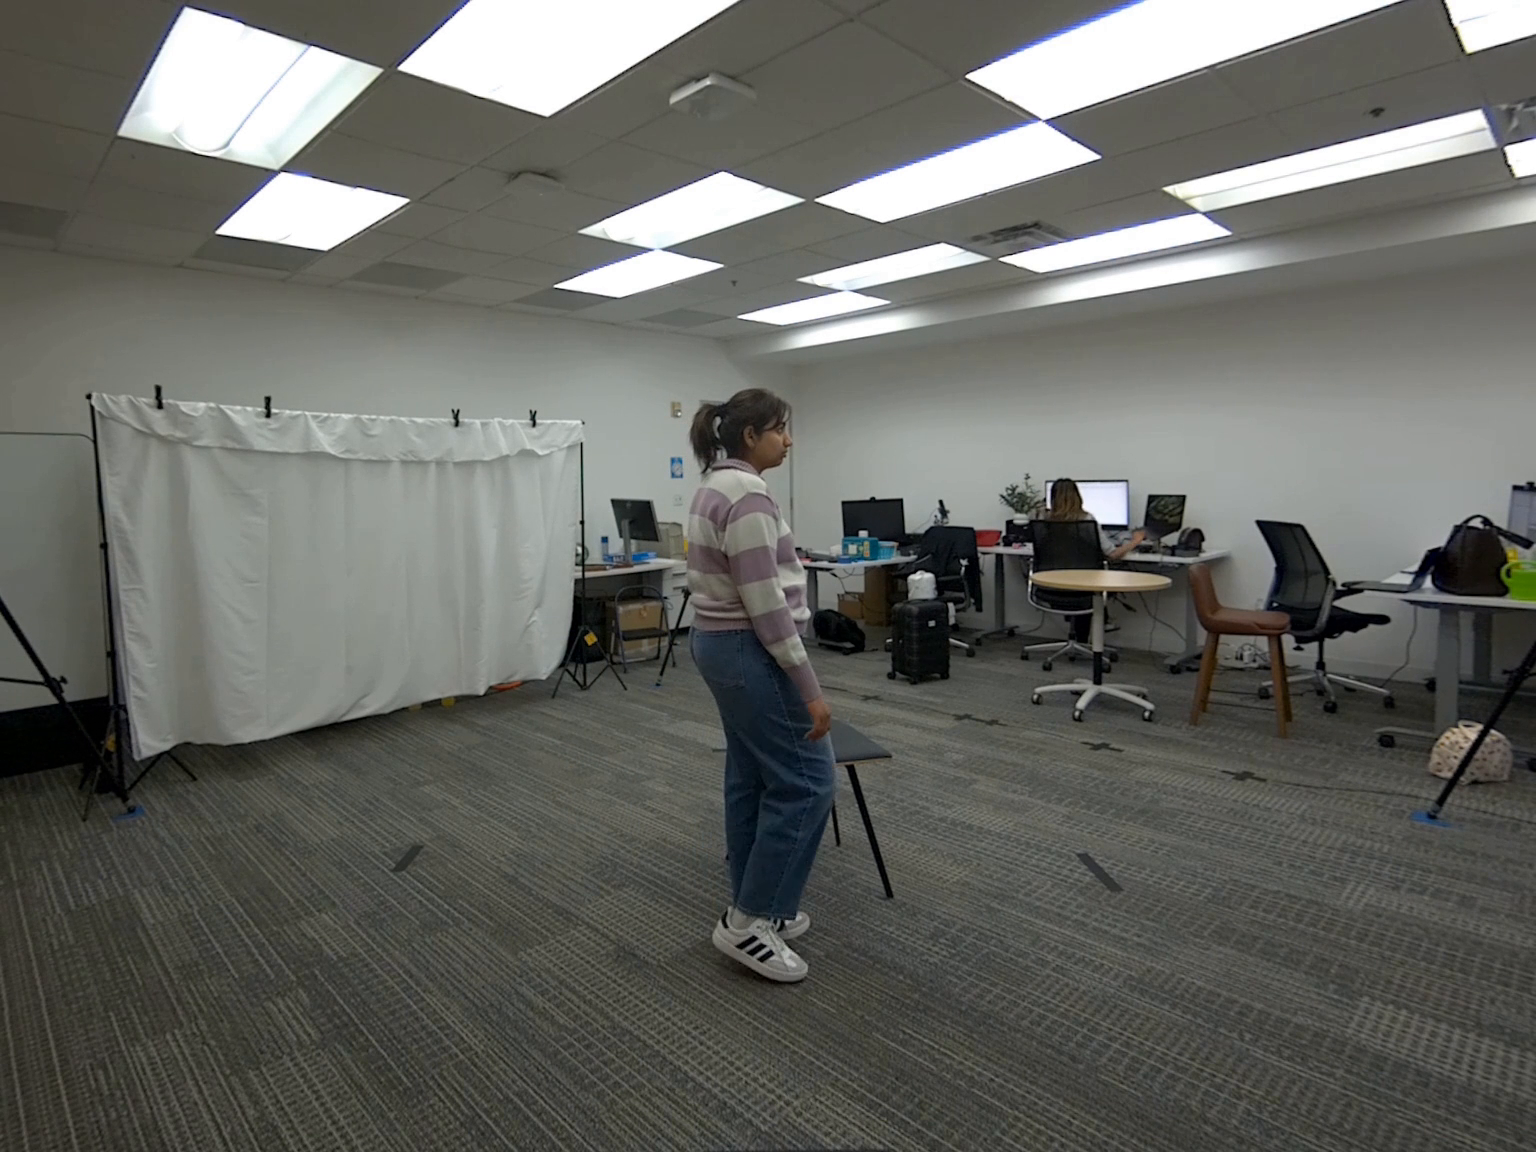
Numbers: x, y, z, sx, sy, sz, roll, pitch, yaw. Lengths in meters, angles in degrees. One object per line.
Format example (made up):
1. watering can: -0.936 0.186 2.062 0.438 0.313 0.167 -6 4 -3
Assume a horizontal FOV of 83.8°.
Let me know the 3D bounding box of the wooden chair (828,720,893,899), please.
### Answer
1. wooden chair: 0.134 0.631 2.972 0.516 0.873 0.487 -6 5 -17
